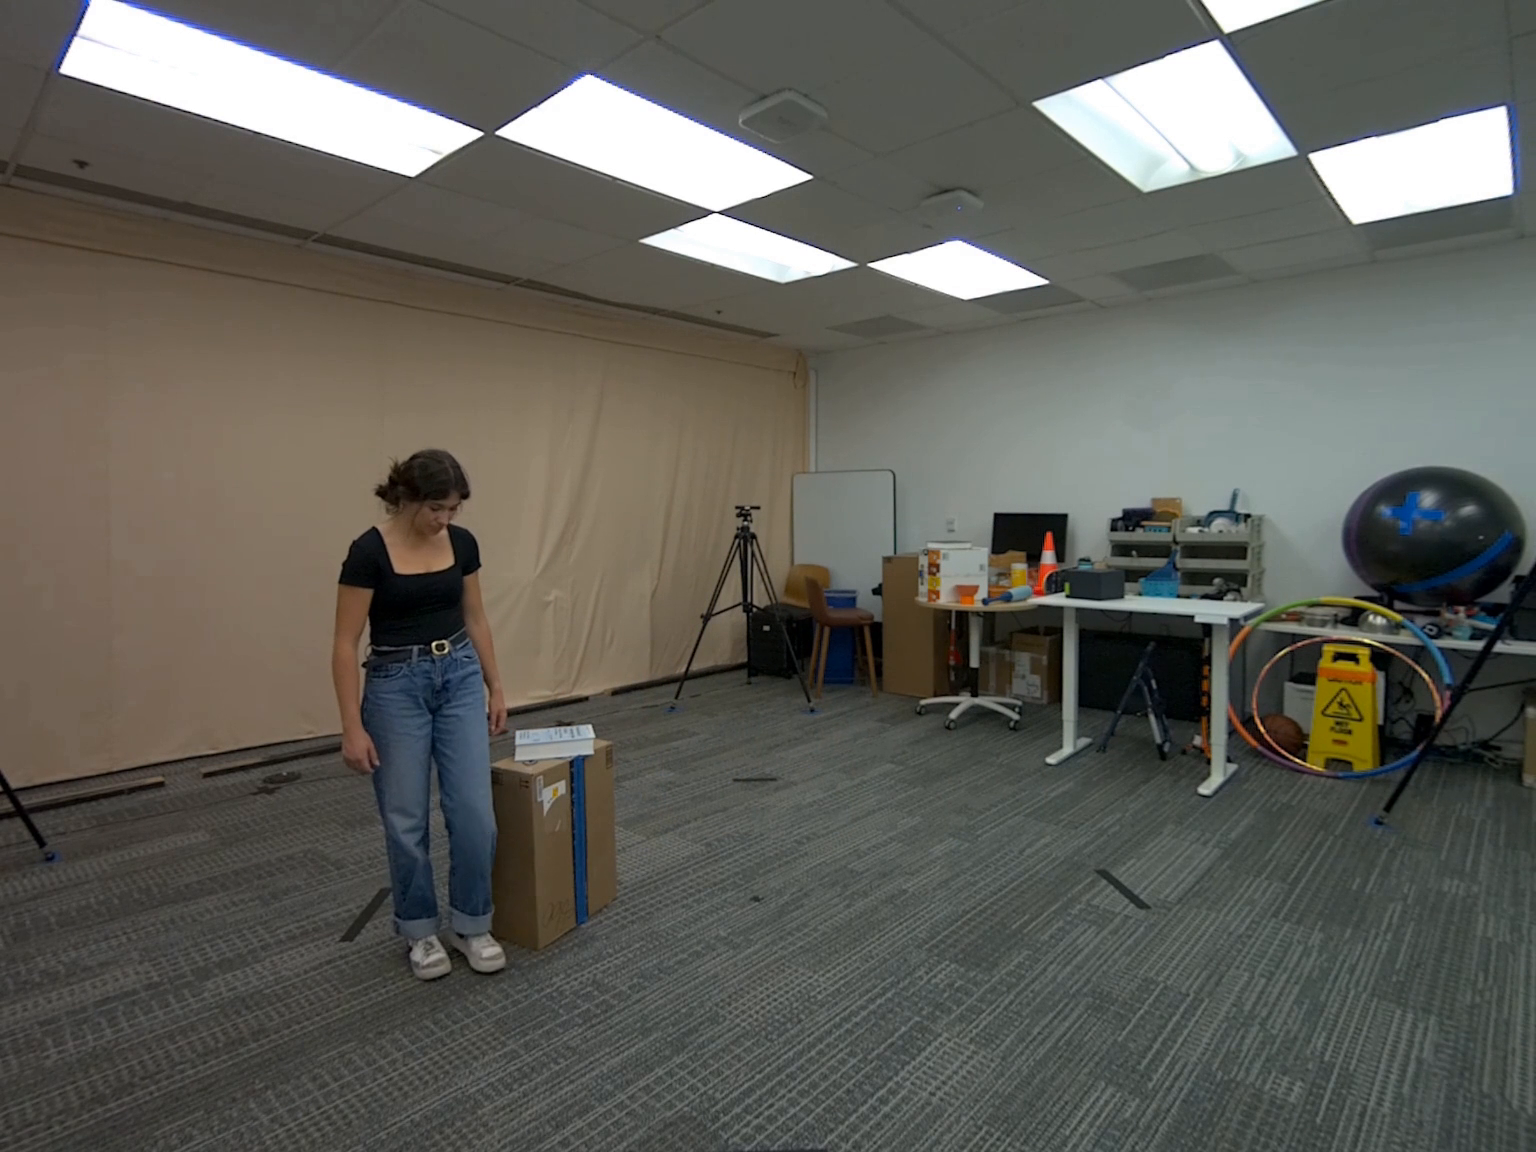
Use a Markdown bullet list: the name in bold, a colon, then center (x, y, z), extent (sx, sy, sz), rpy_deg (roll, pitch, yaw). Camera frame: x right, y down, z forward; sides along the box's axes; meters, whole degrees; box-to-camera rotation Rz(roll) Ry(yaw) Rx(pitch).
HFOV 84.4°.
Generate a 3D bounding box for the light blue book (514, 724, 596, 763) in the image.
- **light blue book**: center (-0.733, 0.568, 2.878), extent (0.257, 0.059, 0.194), rpy_deg (-2, 5, -13)
